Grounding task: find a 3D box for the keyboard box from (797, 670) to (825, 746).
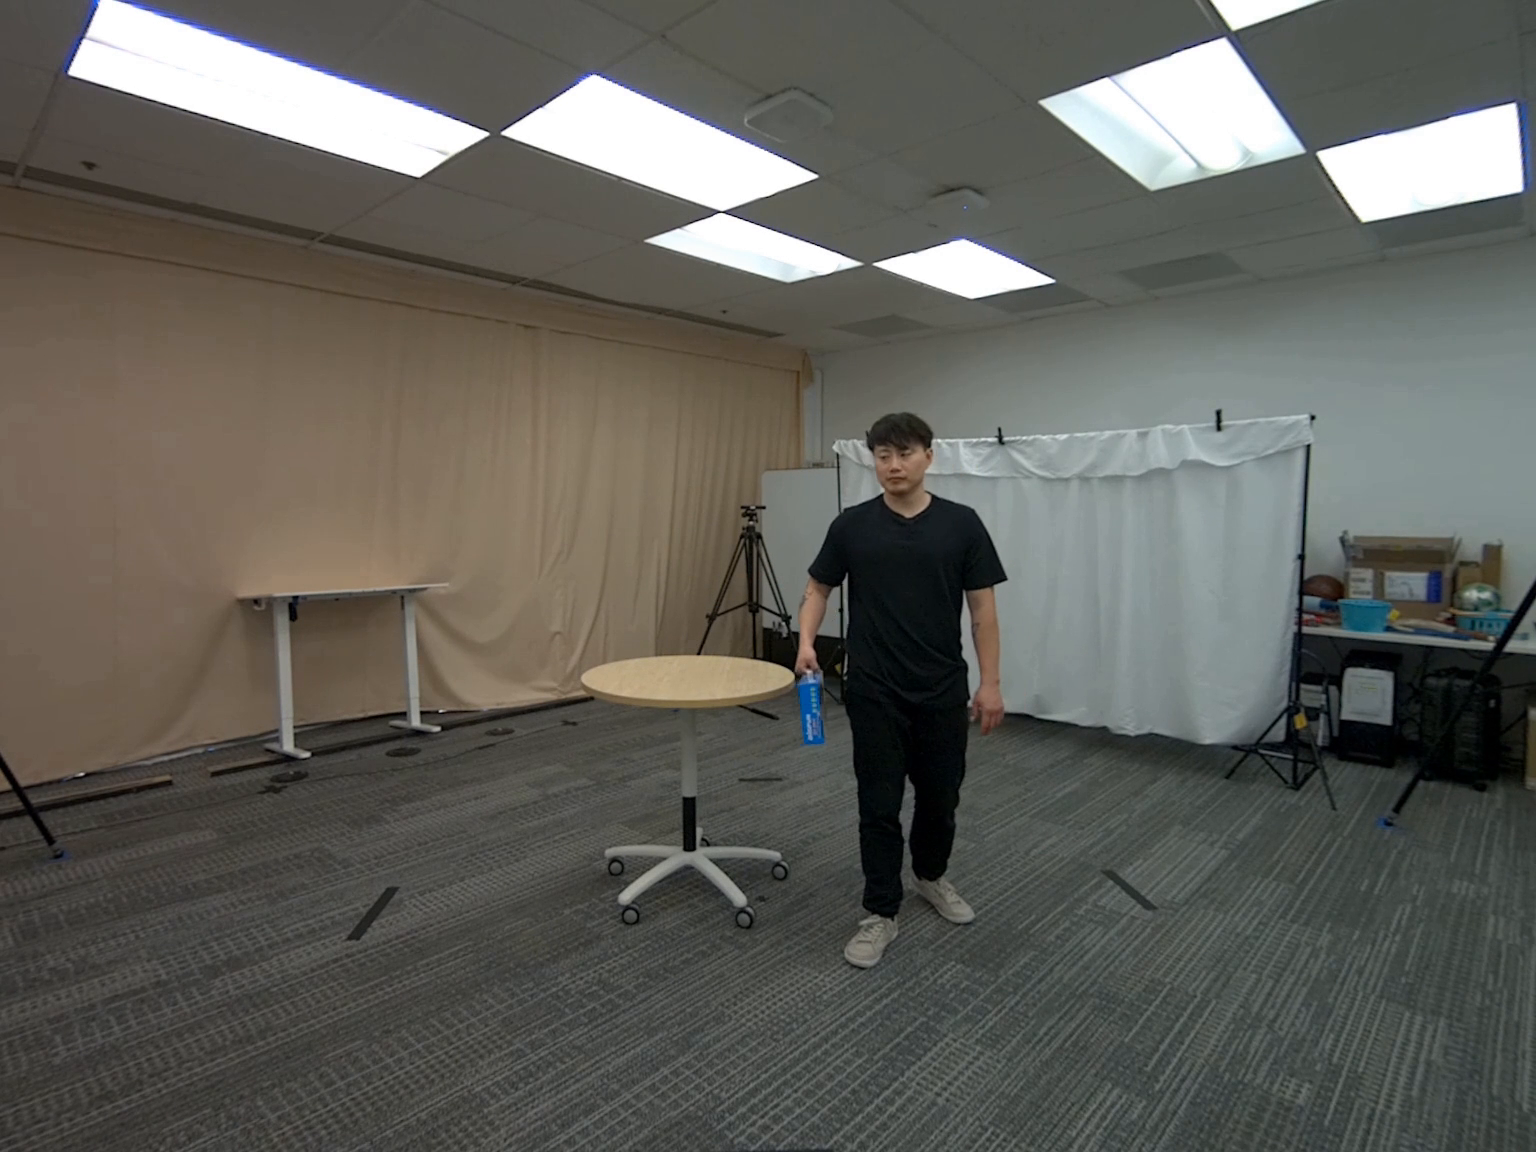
[{"bbox_3d":[0.146,0.398,2.591,0.059,0.176,0.433,-6,-2,4],"label":"keyboard box"}]
